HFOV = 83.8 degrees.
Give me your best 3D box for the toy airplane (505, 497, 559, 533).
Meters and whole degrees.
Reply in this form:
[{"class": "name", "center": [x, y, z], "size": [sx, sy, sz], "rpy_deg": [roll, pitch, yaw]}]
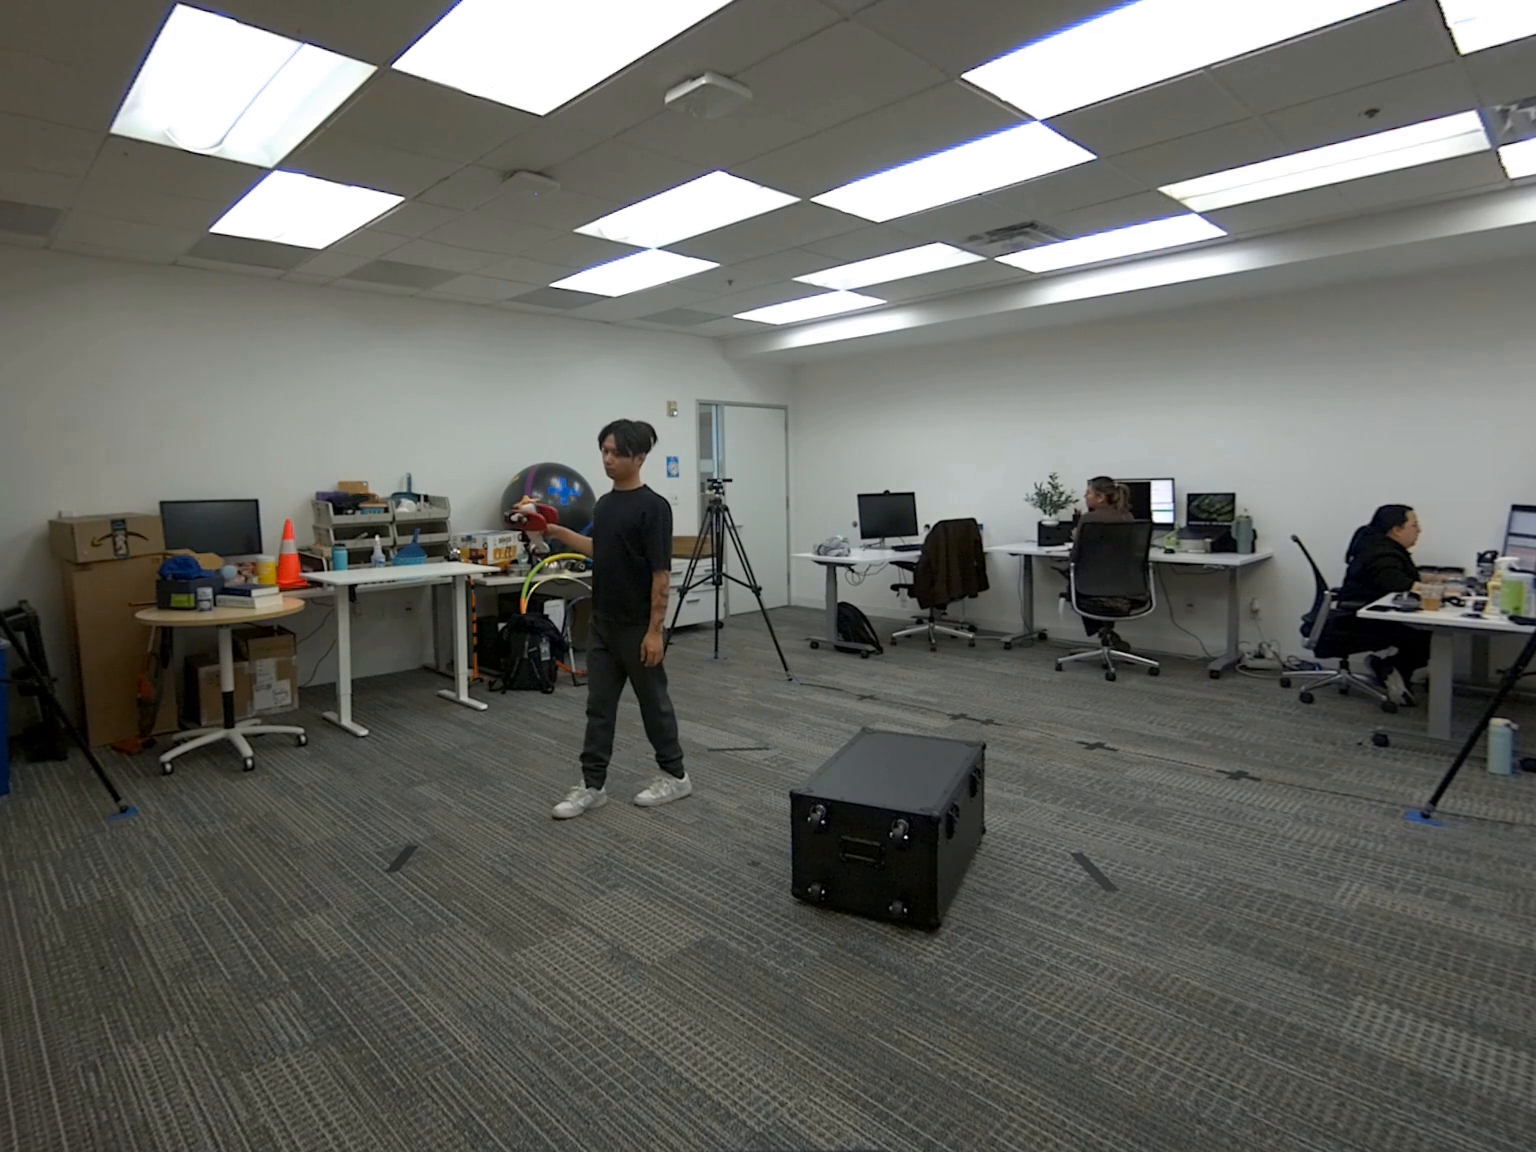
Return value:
[{"class": "toy airplane", "center": [-1.074, -0.232, 3.845], "size": [0.255, 0.157, 0.254], "rpy_deg": [28, -35, 10]}]
